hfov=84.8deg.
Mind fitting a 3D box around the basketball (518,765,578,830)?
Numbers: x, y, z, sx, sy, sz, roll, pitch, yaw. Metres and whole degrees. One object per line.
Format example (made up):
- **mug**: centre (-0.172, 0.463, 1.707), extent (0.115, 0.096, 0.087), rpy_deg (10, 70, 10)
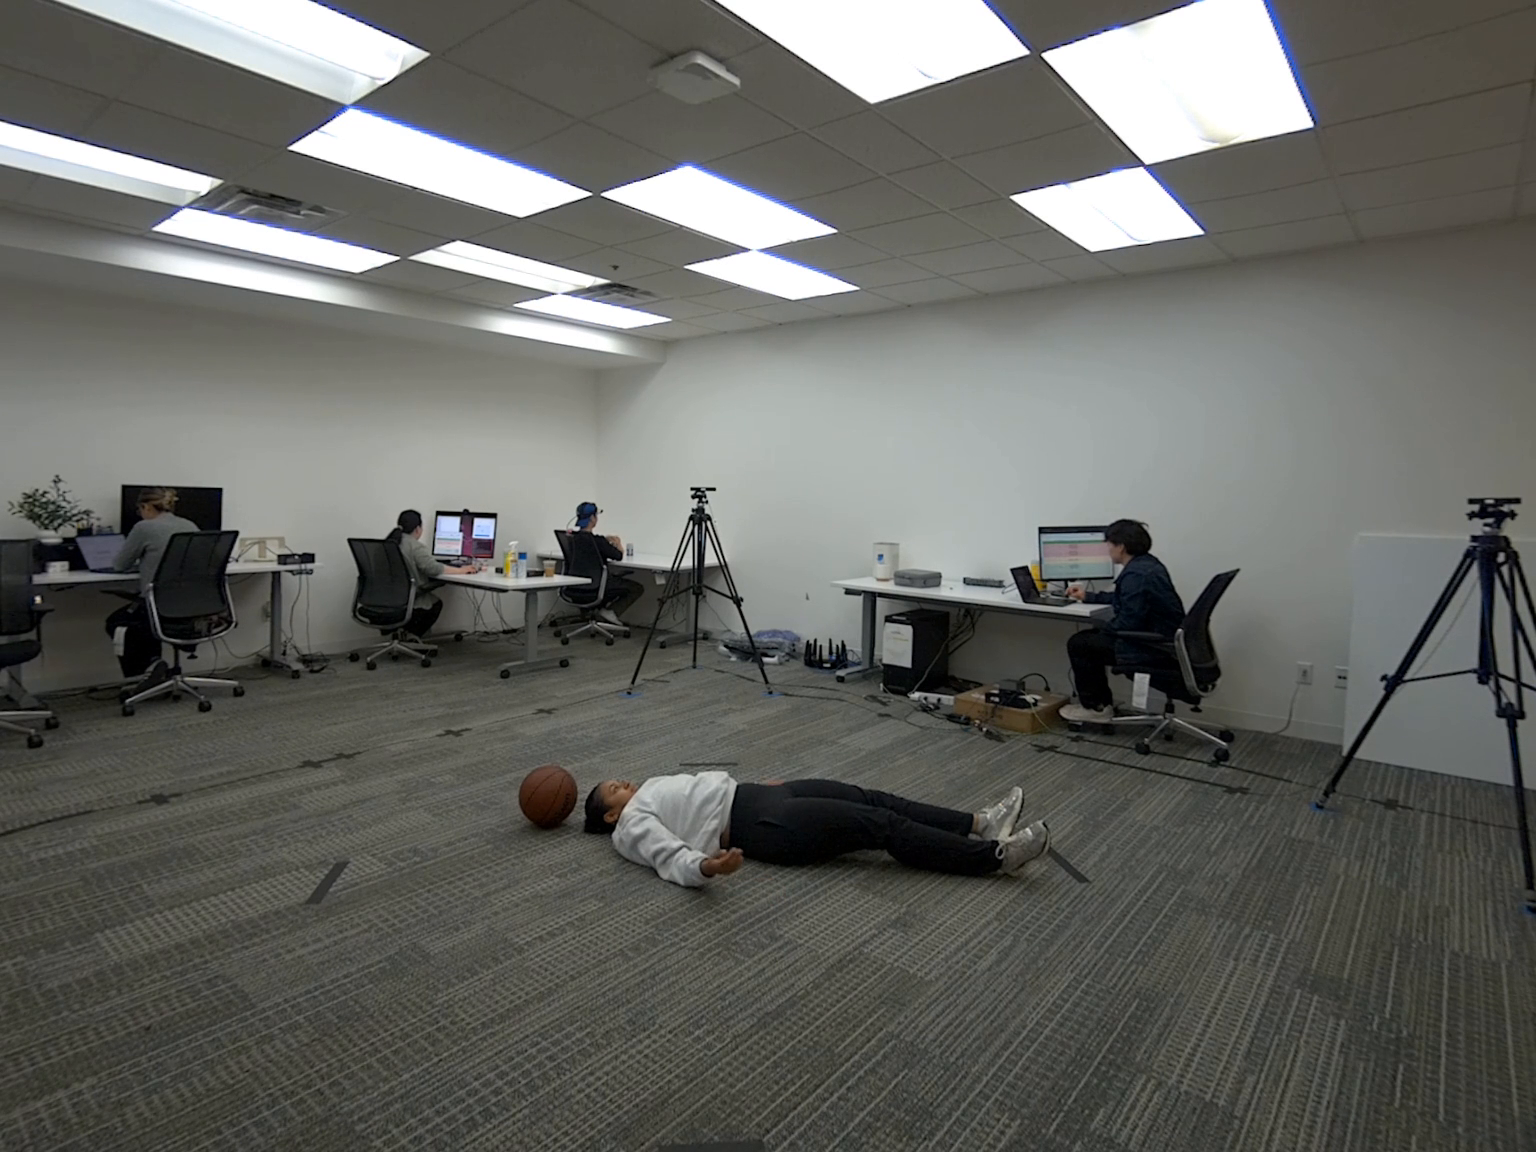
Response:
- **basketball**: centre (-0.919, 0.896, 3.491), extent (0.236, 0.234, 0.238), rpy_deg (-2, 8, -2)
